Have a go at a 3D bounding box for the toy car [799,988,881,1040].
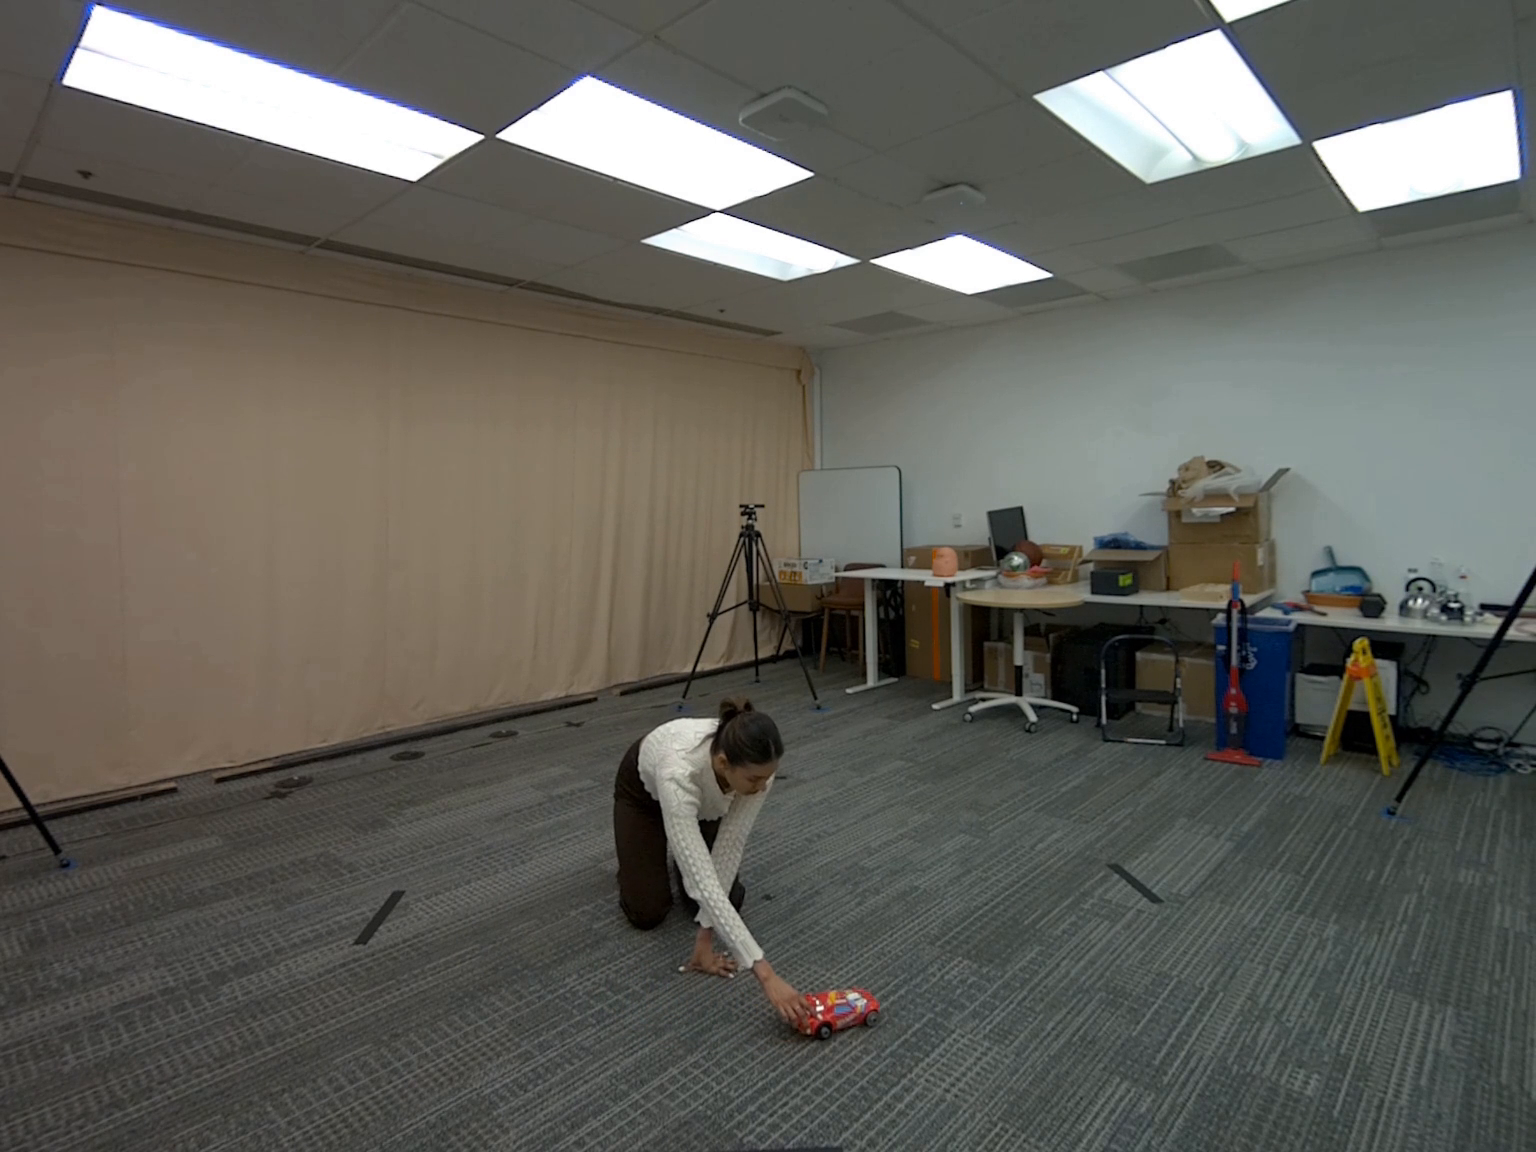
[{"bbox_3d":[0.172,1.168,2.247,0.249,0.083,0.133,9,-1,-21],"label":"toy car"}]
